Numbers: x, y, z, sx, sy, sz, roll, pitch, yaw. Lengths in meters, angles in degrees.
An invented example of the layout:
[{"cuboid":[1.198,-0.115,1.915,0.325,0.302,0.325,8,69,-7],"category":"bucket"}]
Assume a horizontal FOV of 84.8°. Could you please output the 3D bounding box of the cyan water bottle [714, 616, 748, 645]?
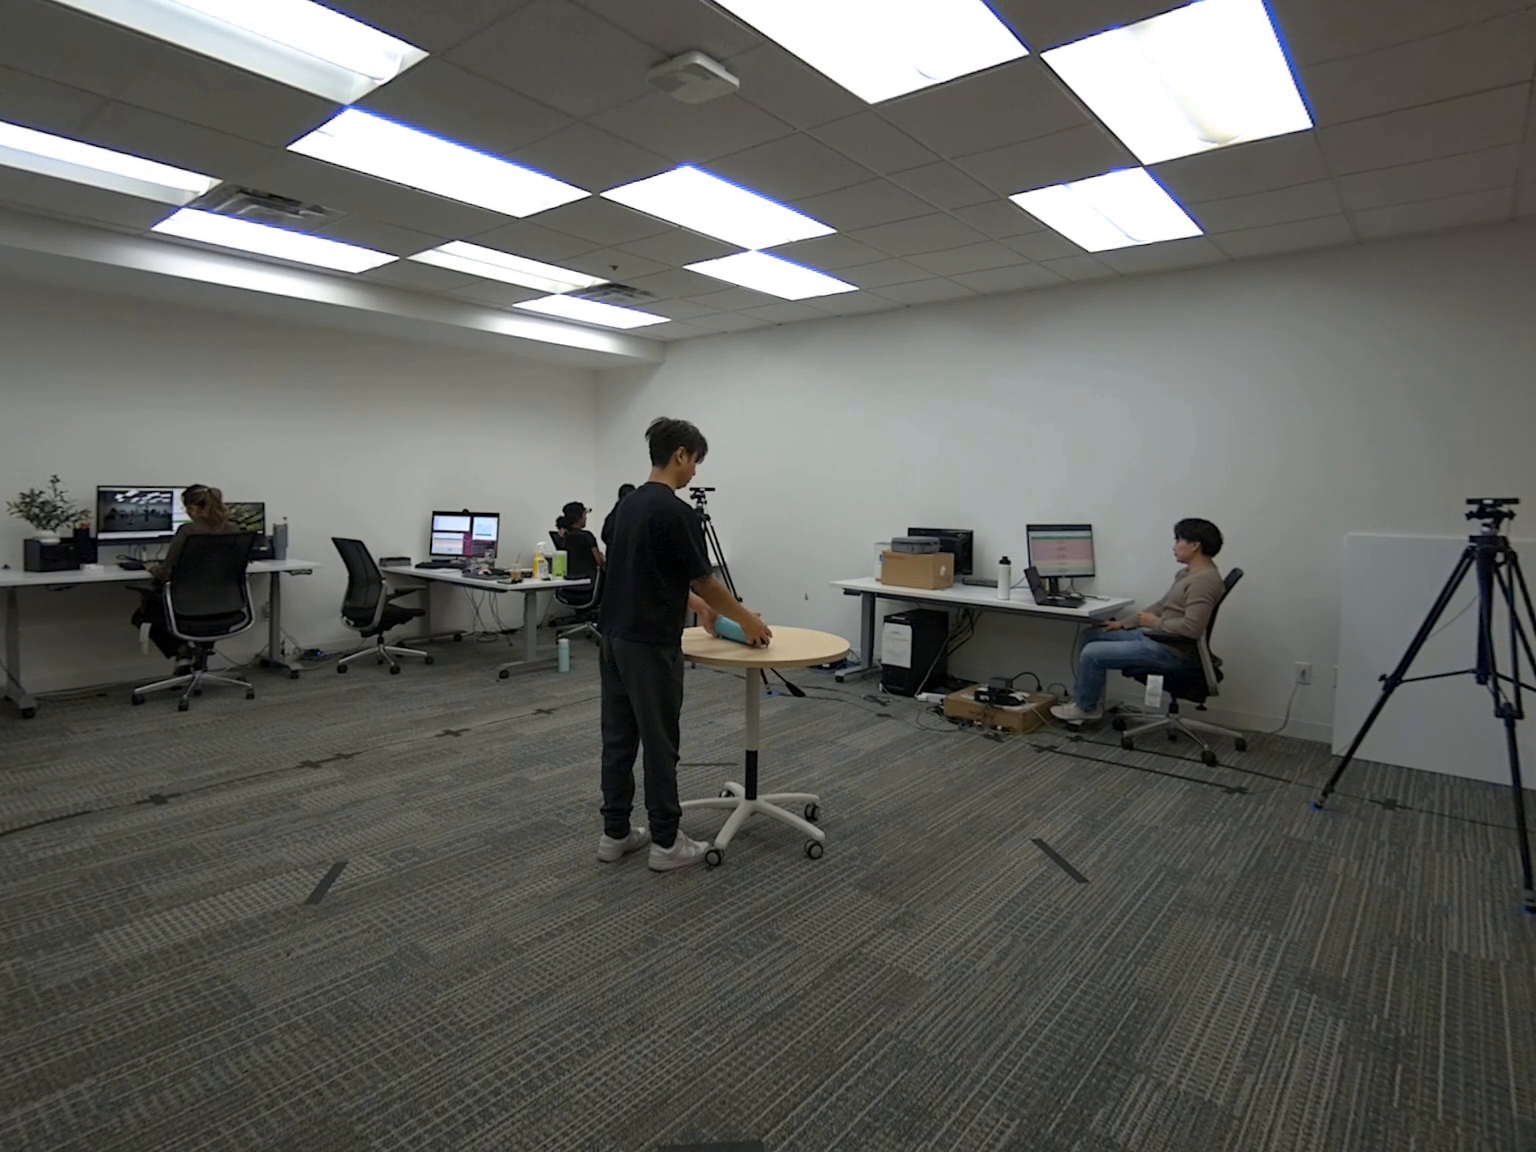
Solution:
[{"cuboid":[-0.108,0.214,3.379,0.089,0.092,0.293,-2,7,-38],"category":"cyan water bottle"}]
